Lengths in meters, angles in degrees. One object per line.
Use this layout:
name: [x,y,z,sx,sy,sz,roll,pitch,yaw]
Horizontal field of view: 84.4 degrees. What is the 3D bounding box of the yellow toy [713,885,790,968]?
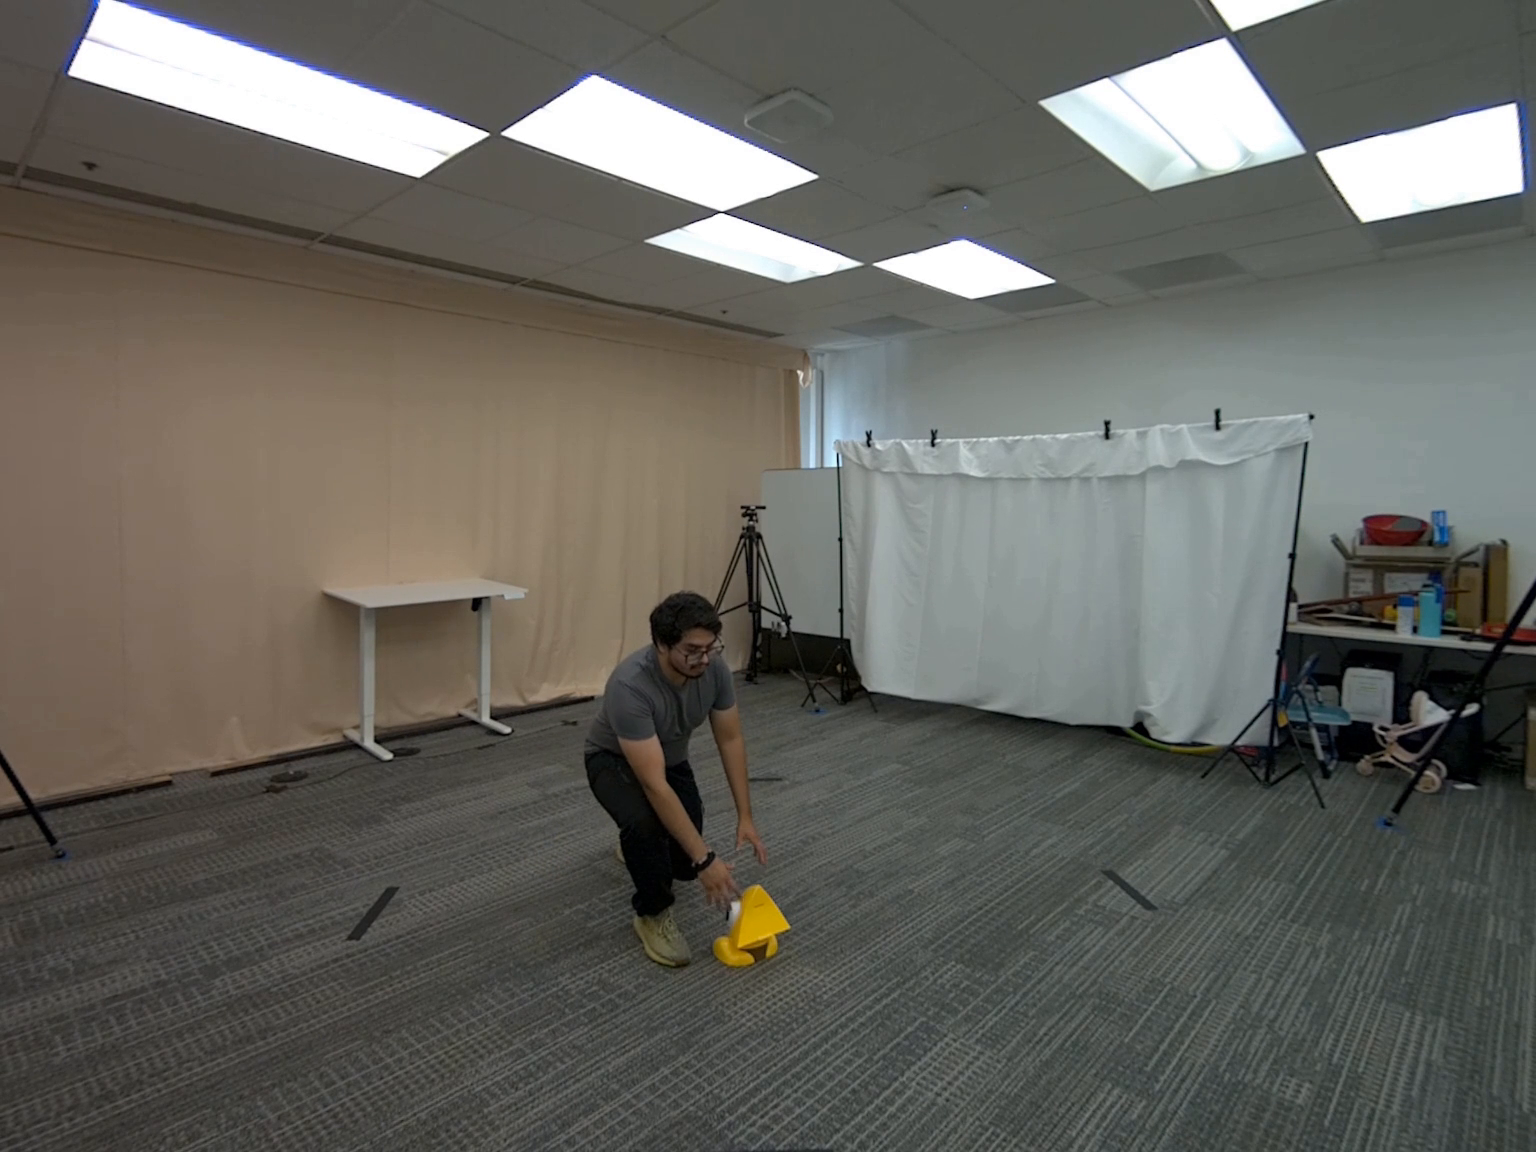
yellow toy: [-0.064,1.064,2.621,0.199,0.230,0.199,-3,4,-37]
